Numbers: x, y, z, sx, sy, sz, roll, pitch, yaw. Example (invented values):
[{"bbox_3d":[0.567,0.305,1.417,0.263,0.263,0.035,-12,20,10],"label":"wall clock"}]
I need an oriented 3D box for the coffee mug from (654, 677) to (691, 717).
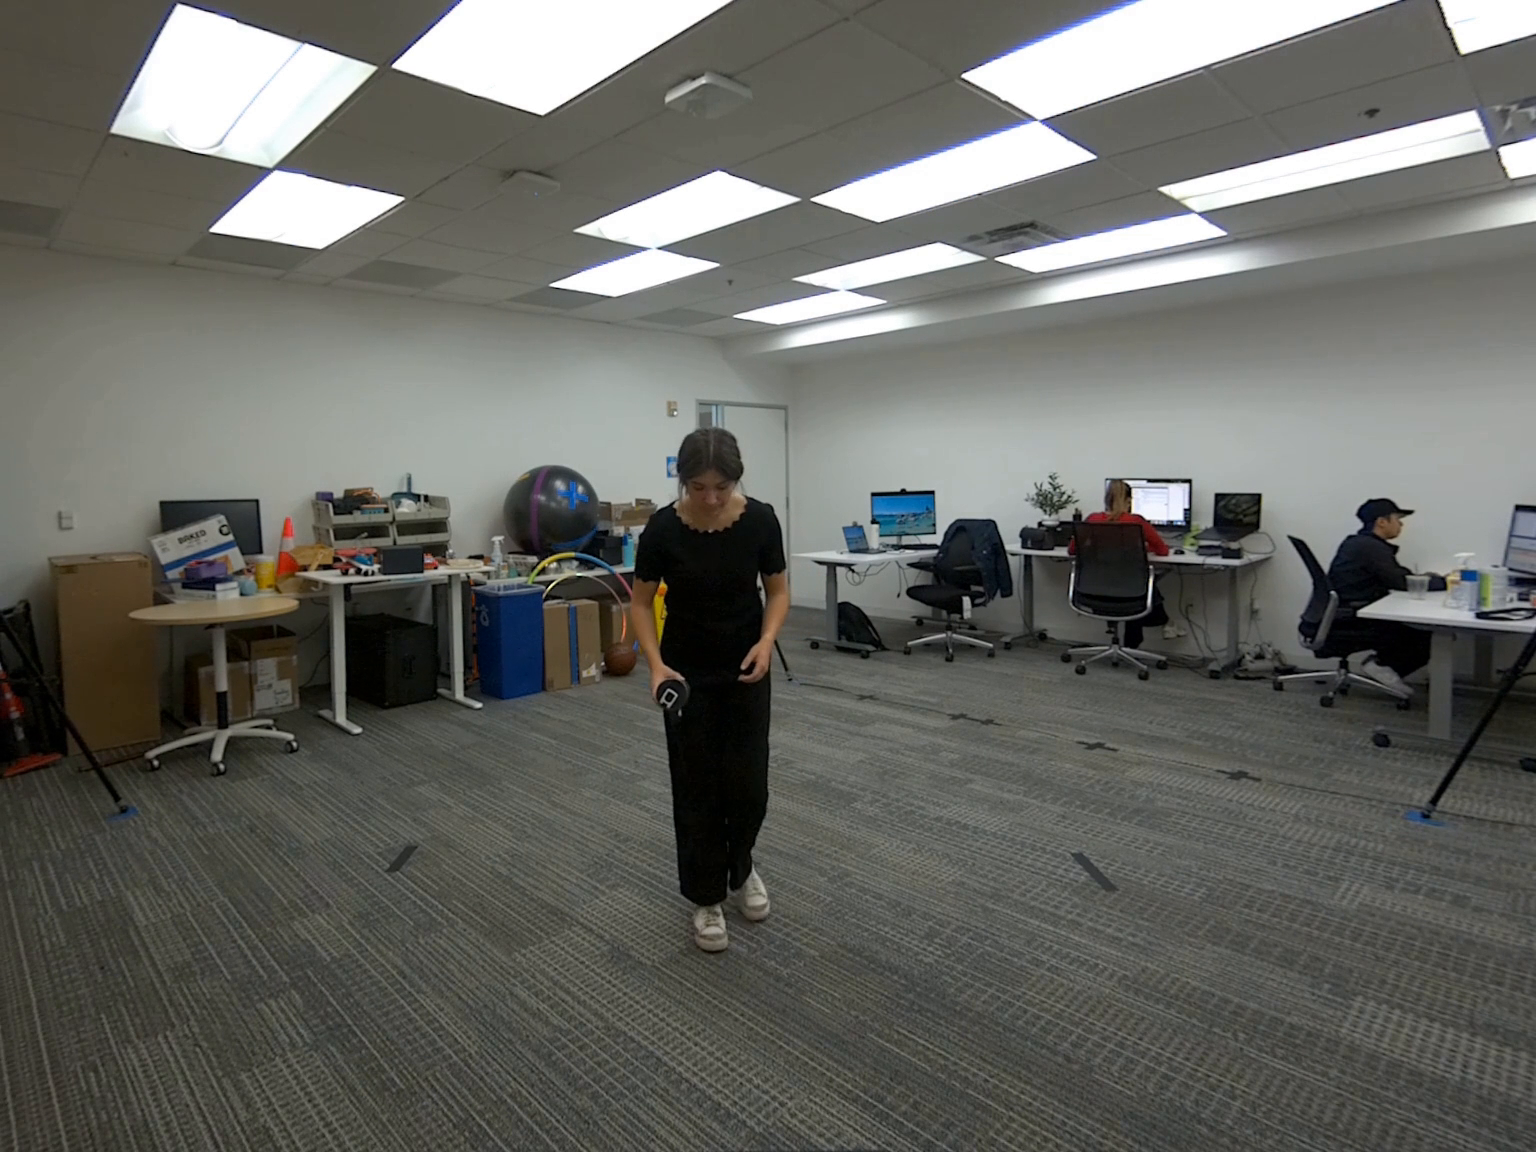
[{"bbox_3d":[-0.259,0.342,2.417,0.087,0.122,0.204,-25,0,-12],"label":"coffee mug"}]
